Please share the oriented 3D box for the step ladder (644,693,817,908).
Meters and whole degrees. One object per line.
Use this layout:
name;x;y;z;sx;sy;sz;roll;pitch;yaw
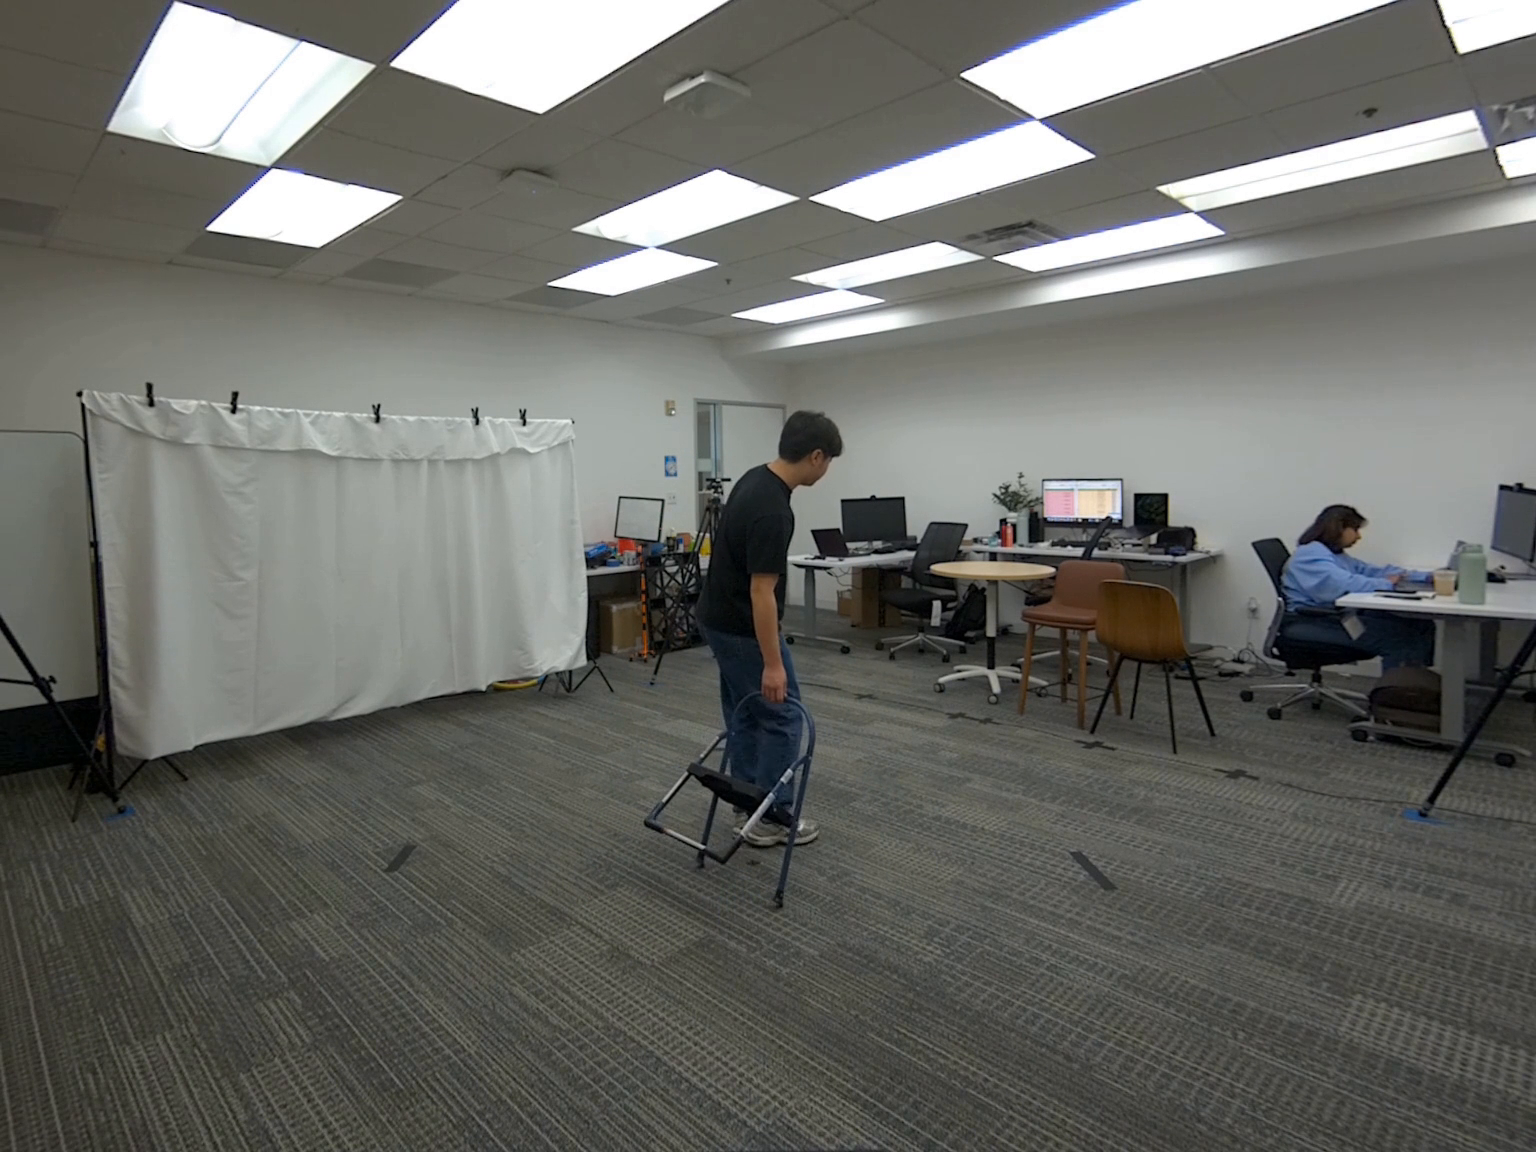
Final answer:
step ladder;-0.059;0.717;2.960;0.444;0.610;0.336;4;-34;46
